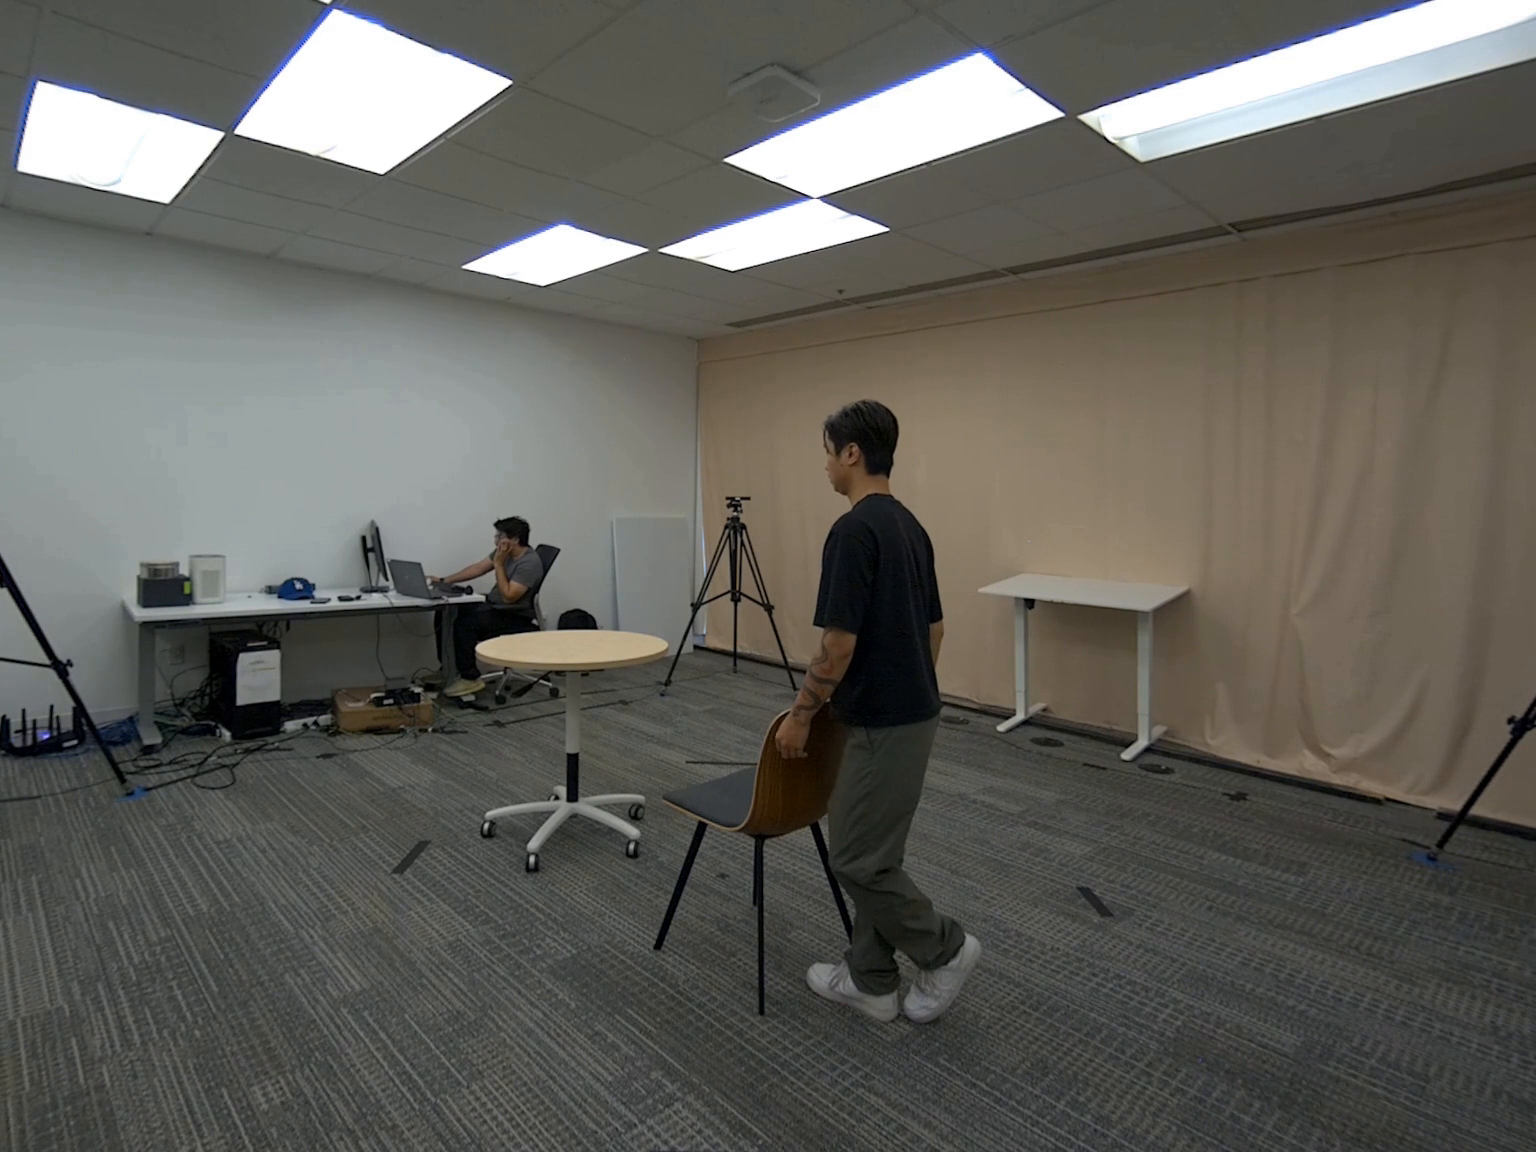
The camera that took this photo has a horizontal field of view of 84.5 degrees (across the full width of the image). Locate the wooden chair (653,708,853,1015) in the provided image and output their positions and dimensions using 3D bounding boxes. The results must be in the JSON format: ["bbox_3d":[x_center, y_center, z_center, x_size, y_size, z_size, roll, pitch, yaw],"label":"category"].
[{"bbox_3d":[-0.031,0.730,2.556,0.538,0.873,0.467,11,10,43],"label":"wooden chair"}]
